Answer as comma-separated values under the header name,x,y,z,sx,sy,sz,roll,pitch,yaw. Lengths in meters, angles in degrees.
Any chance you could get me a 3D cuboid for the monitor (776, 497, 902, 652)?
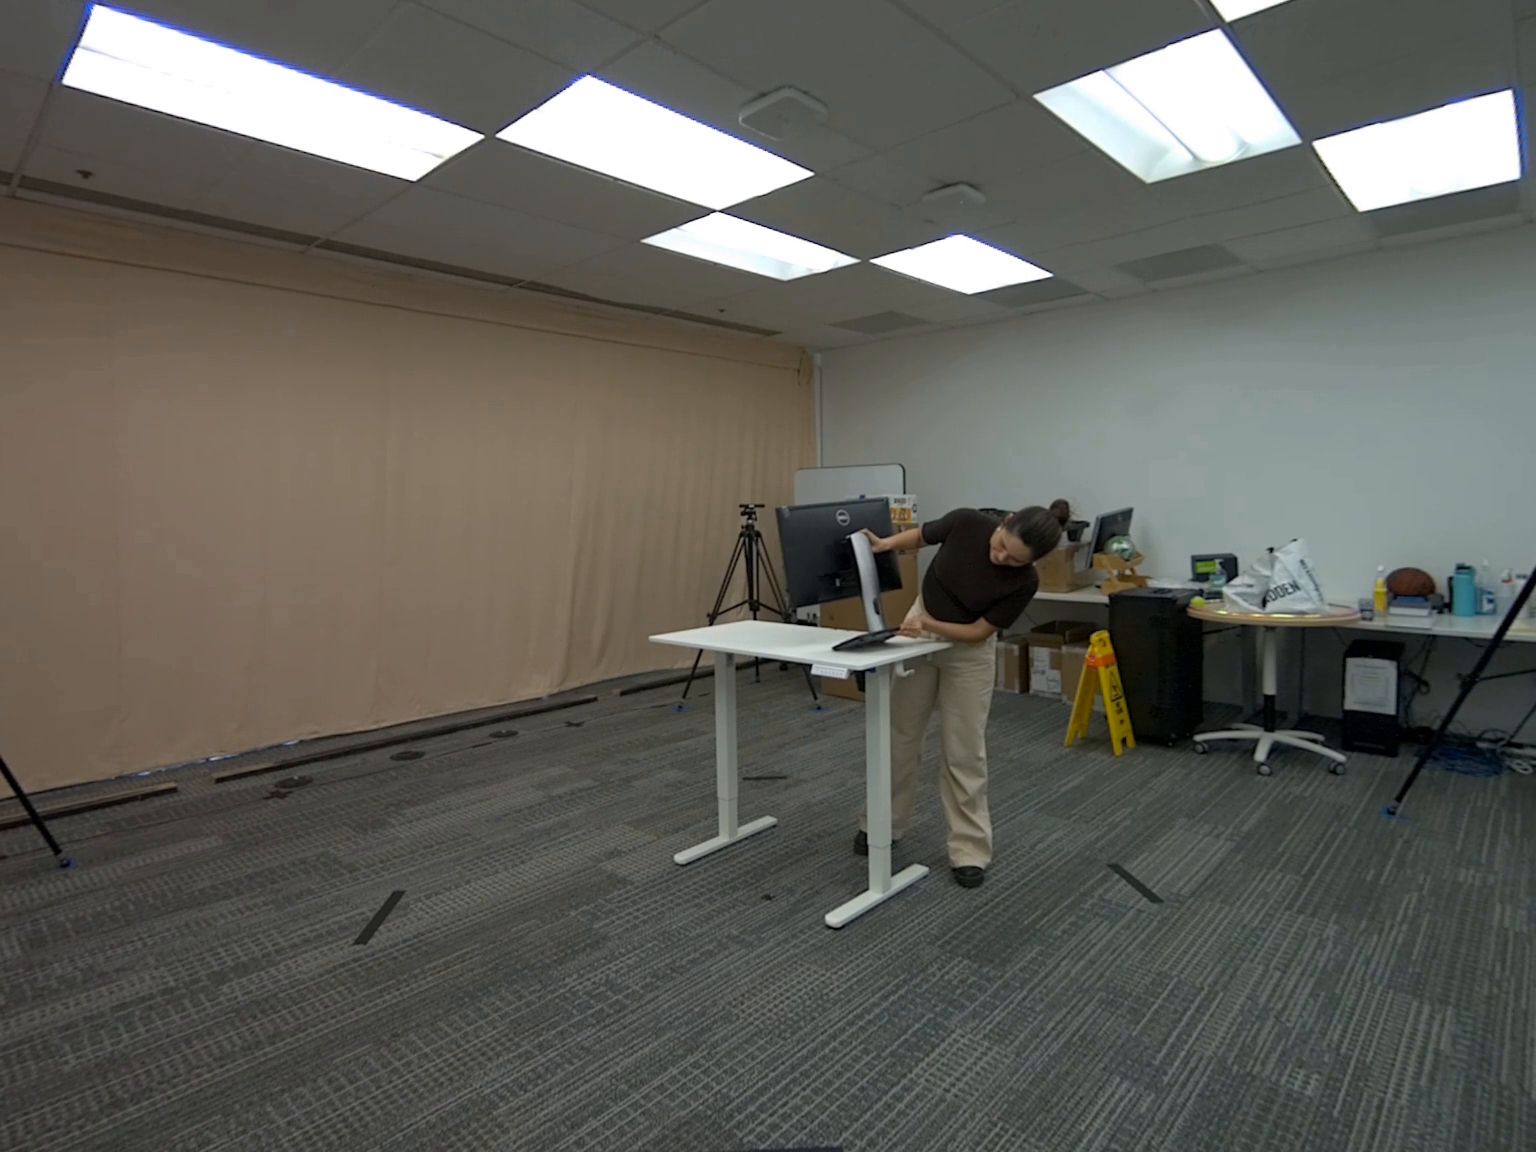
name,x,y,z,sx,sy,sz,roll,pitch,yaw
monitor,0.313,-0.018,2.995,0.524,0.529,0.190,-7,-17,-34
